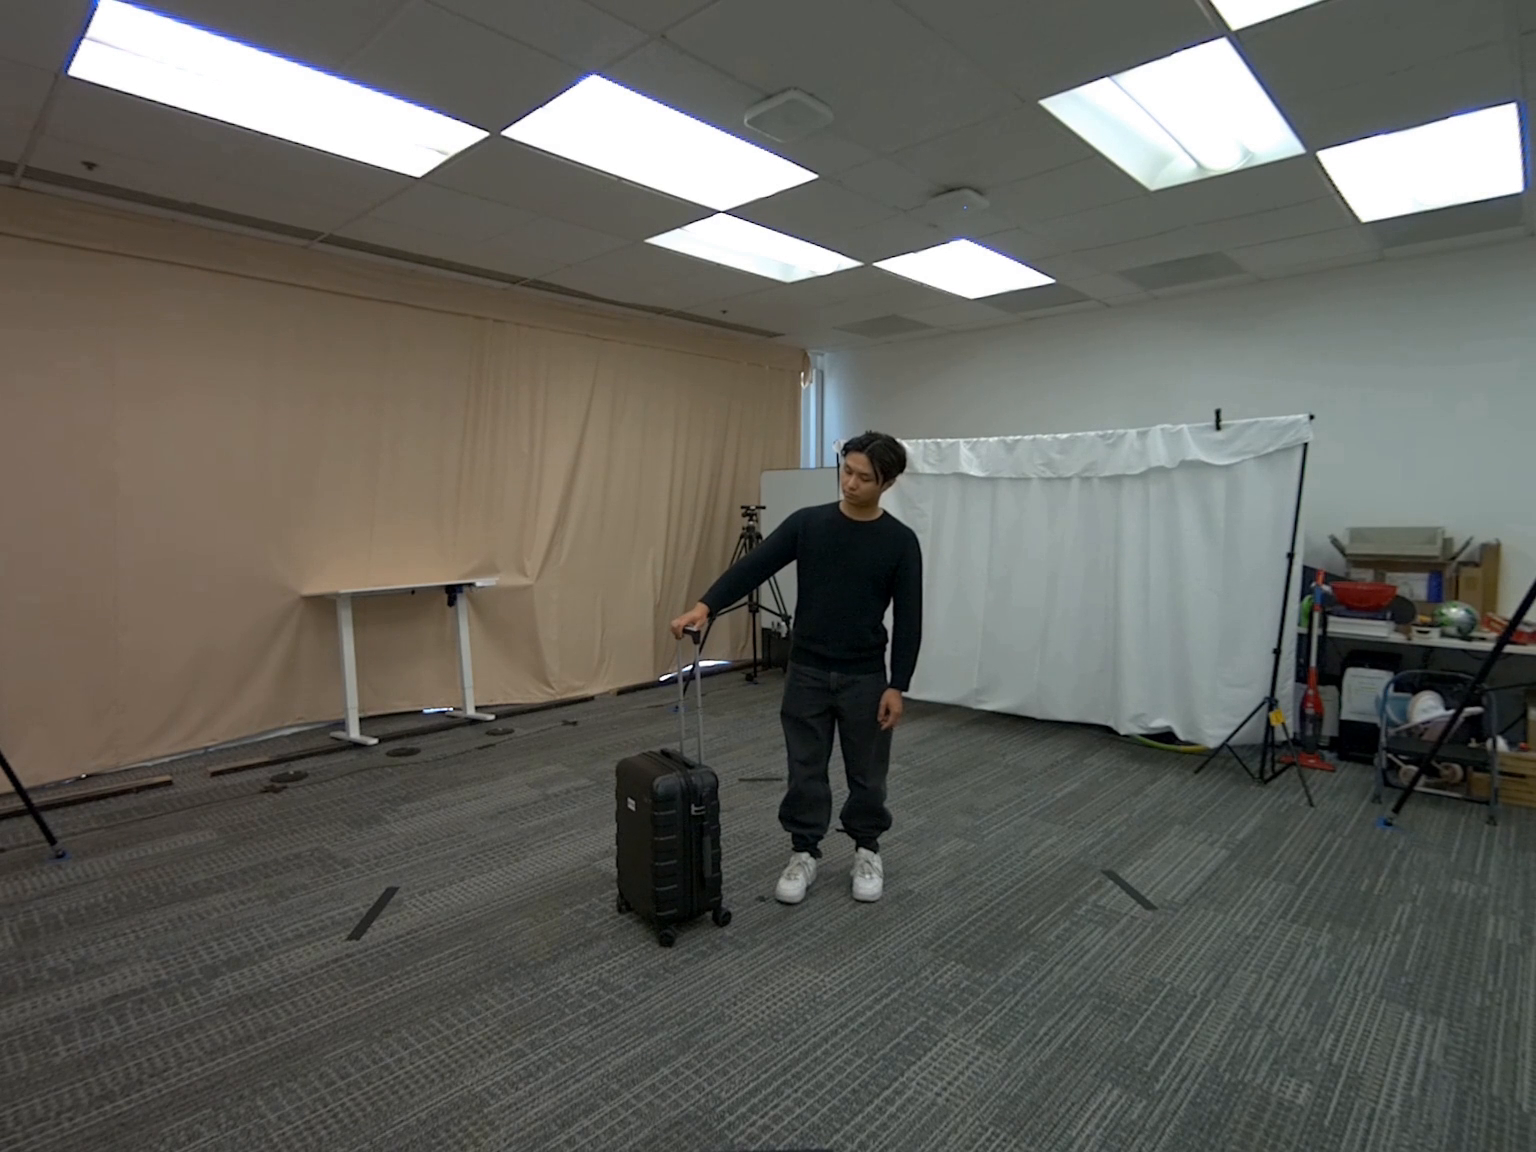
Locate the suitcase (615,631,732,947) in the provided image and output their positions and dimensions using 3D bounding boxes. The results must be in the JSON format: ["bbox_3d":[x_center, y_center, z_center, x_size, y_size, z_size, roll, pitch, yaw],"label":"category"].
[{"bbox_3d":[-0.349,0.683,2.822,0.250,0.976,0.395,-5,4,-33],"label":"suitcase"}]
